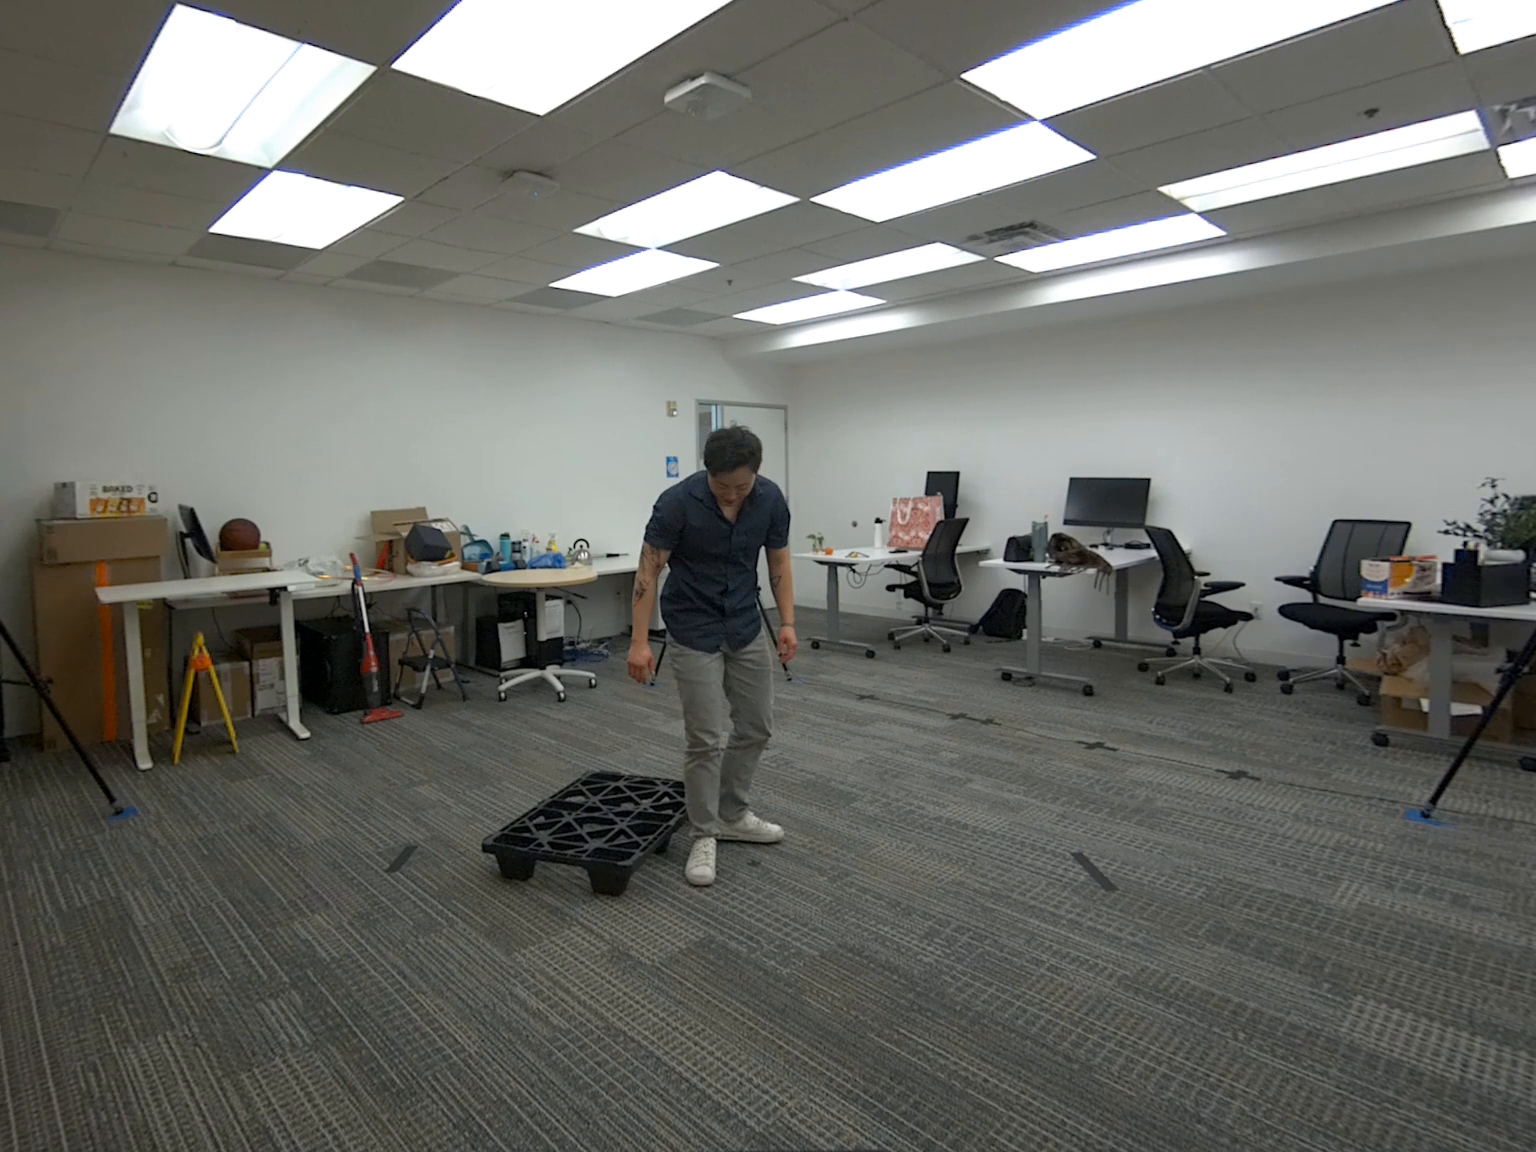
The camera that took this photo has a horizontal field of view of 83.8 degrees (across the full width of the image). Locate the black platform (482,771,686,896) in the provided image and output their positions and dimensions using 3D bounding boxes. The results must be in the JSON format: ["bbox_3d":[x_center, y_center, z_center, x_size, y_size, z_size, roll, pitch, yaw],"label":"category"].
[{"bbox_3d":[-0.608,0.966,3.291,0.616,0.142,0.795,1,7,19],"label":"black platform"}]
